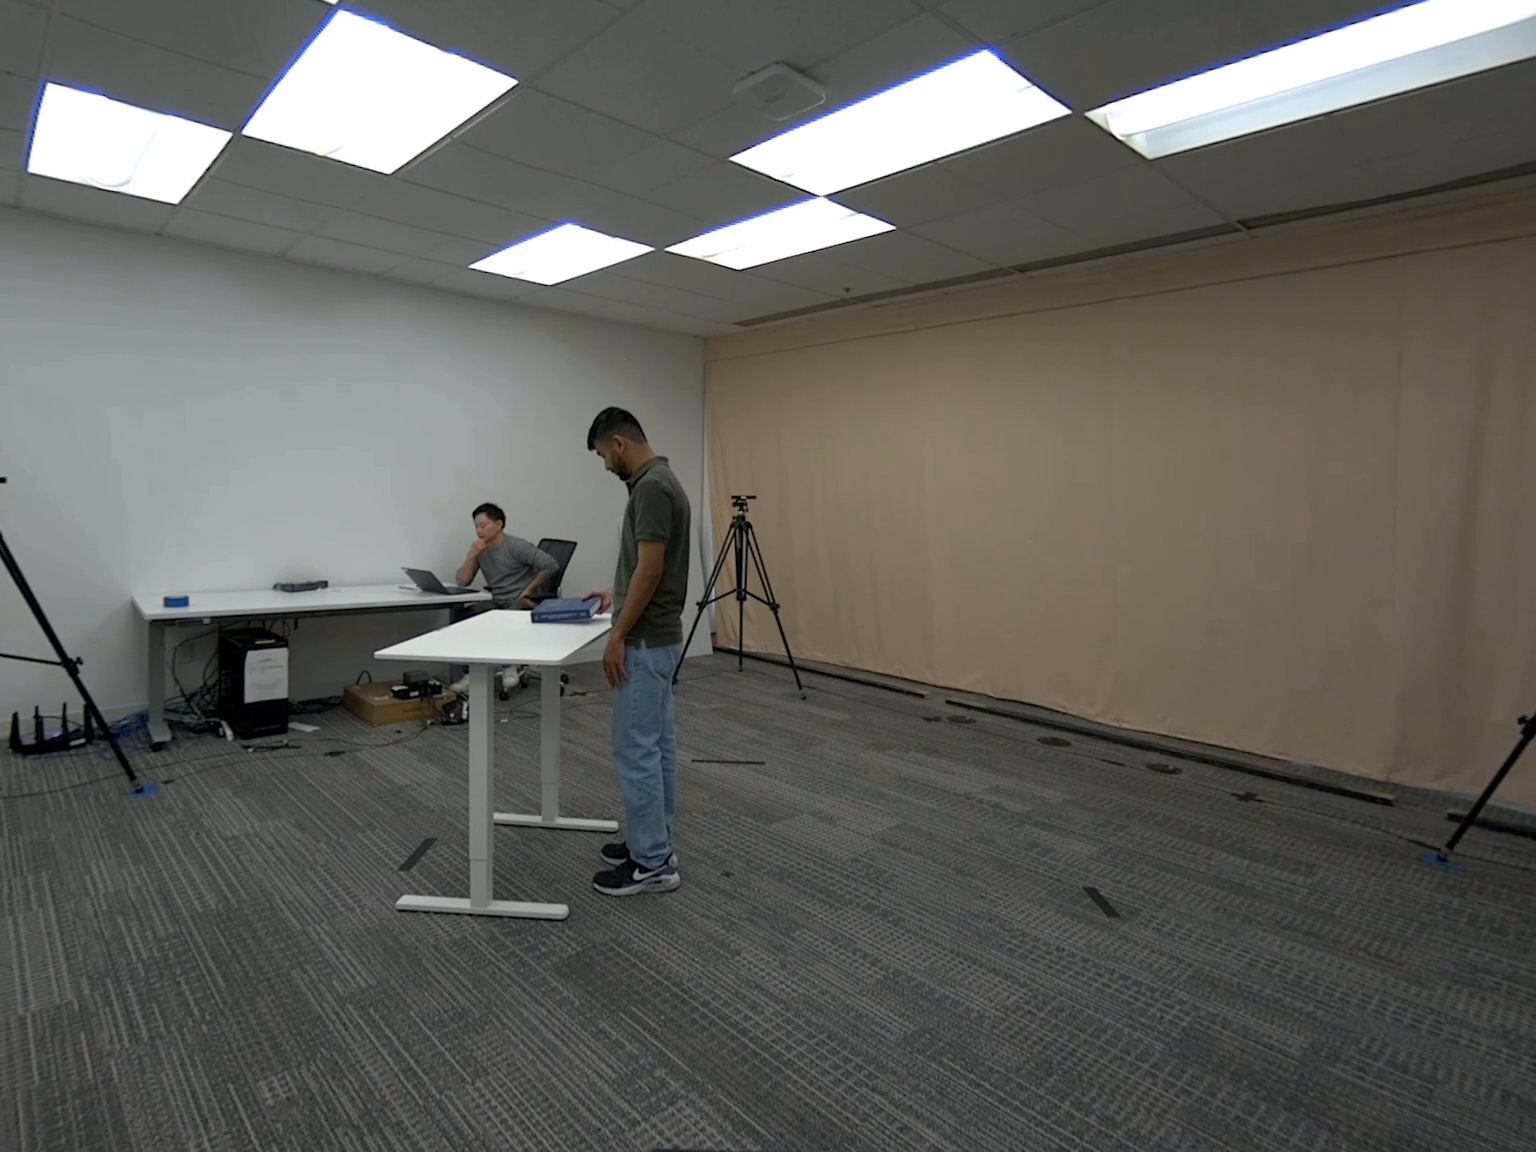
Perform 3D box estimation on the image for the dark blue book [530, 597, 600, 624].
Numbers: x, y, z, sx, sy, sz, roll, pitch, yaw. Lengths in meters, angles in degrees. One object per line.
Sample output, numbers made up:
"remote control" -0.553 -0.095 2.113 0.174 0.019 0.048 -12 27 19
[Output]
"dark blue book" -0.817 0.128 3.357 0.247 0.045 0.164 -3 15 12
